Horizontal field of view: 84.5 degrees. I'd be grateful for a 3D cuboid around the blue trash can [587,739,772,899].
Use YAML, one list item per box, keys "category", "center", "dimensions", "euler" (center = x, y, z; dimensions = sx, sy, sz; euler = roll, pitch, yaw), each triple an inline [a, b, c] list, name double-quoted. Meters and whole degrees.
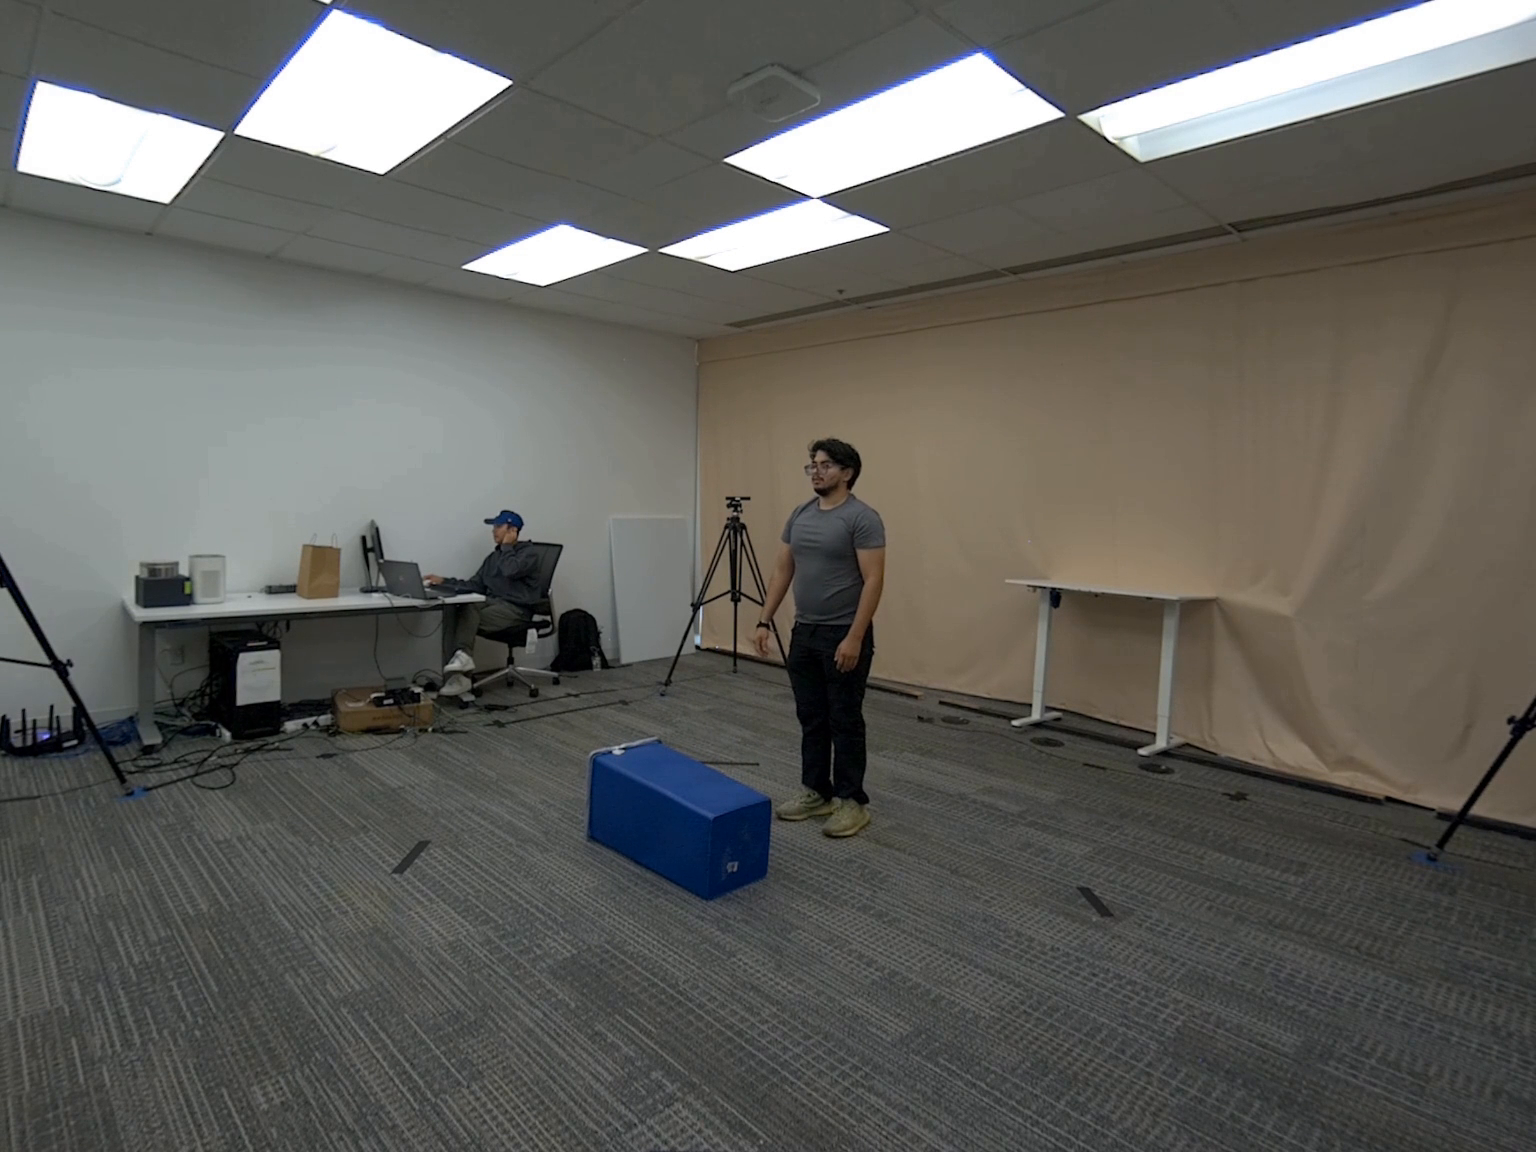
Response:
- category: "blue trash can"
  center: [-0.361, 0.917, 3.237]
  dimensions: [0.365, 0.377, 0.733]
  euler: [-2, 7, -43]
